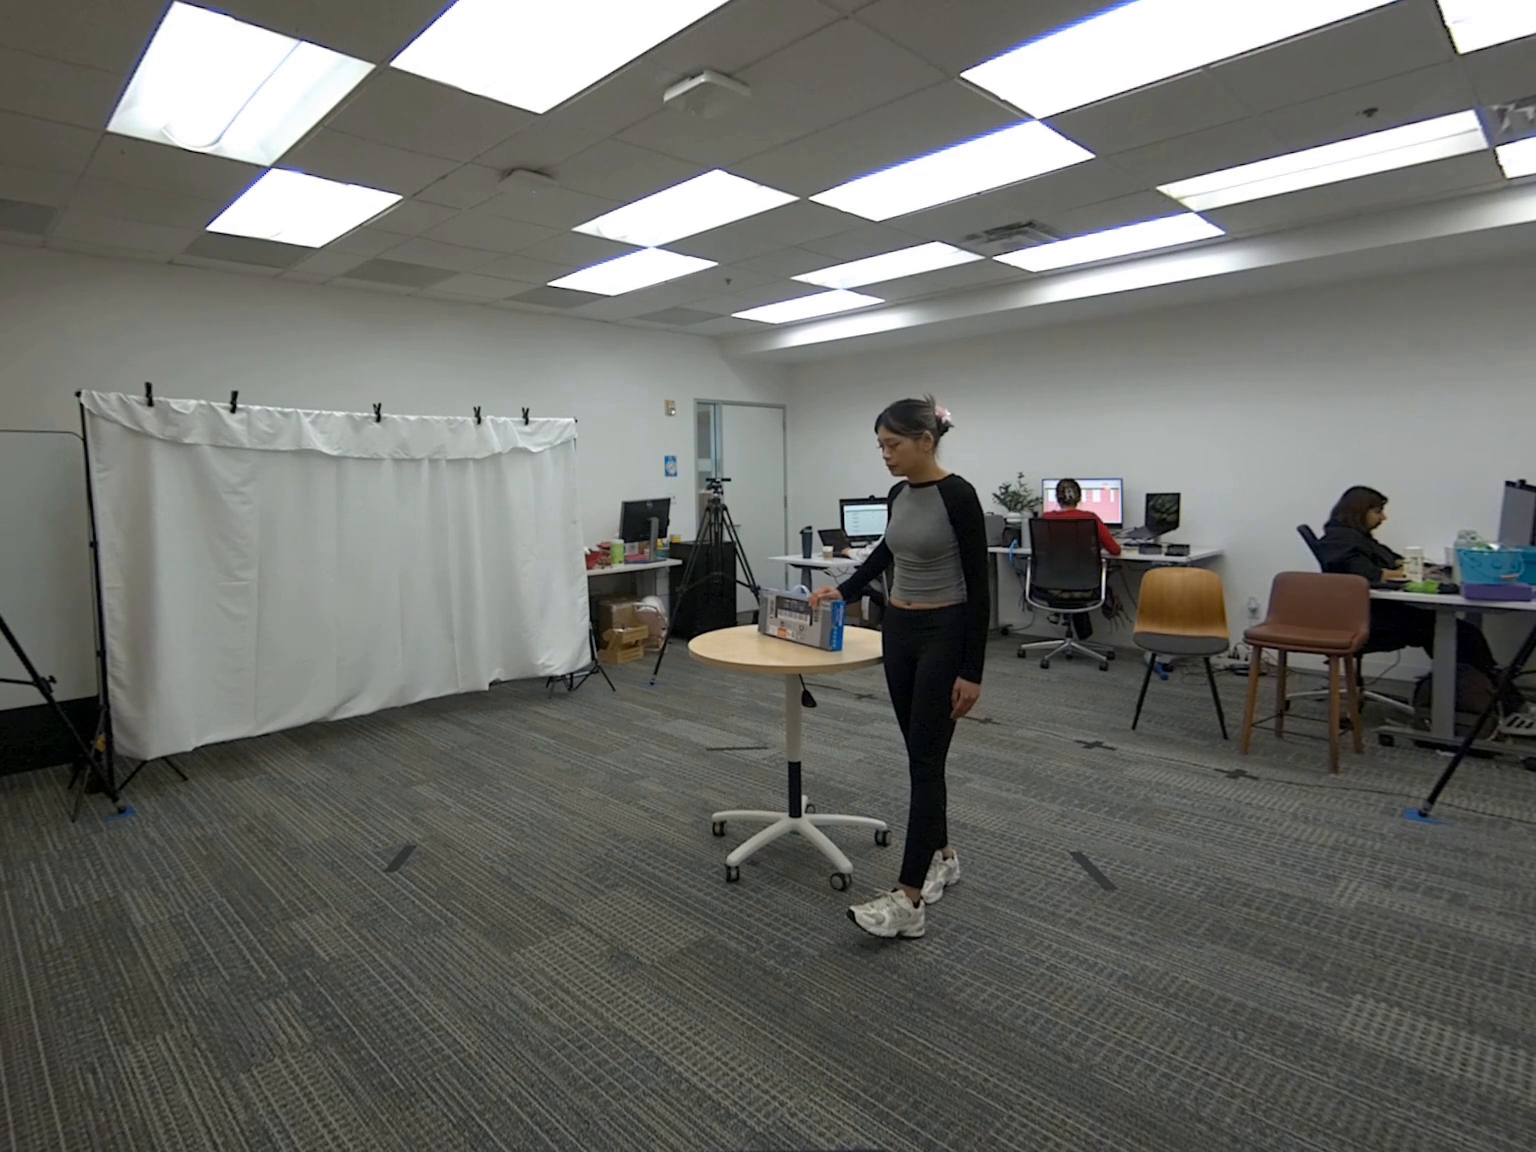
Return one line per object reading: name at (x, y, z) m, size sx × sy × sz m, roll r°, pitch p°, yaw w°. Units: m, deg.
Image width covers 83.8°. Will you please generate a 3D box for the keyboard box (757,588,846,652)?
keyboard box at (0.116, 0.155, 3.140) m, size 0.057 × 0.175 × 0.450 m, roll 2°, pitch 4°, yaw -34°
